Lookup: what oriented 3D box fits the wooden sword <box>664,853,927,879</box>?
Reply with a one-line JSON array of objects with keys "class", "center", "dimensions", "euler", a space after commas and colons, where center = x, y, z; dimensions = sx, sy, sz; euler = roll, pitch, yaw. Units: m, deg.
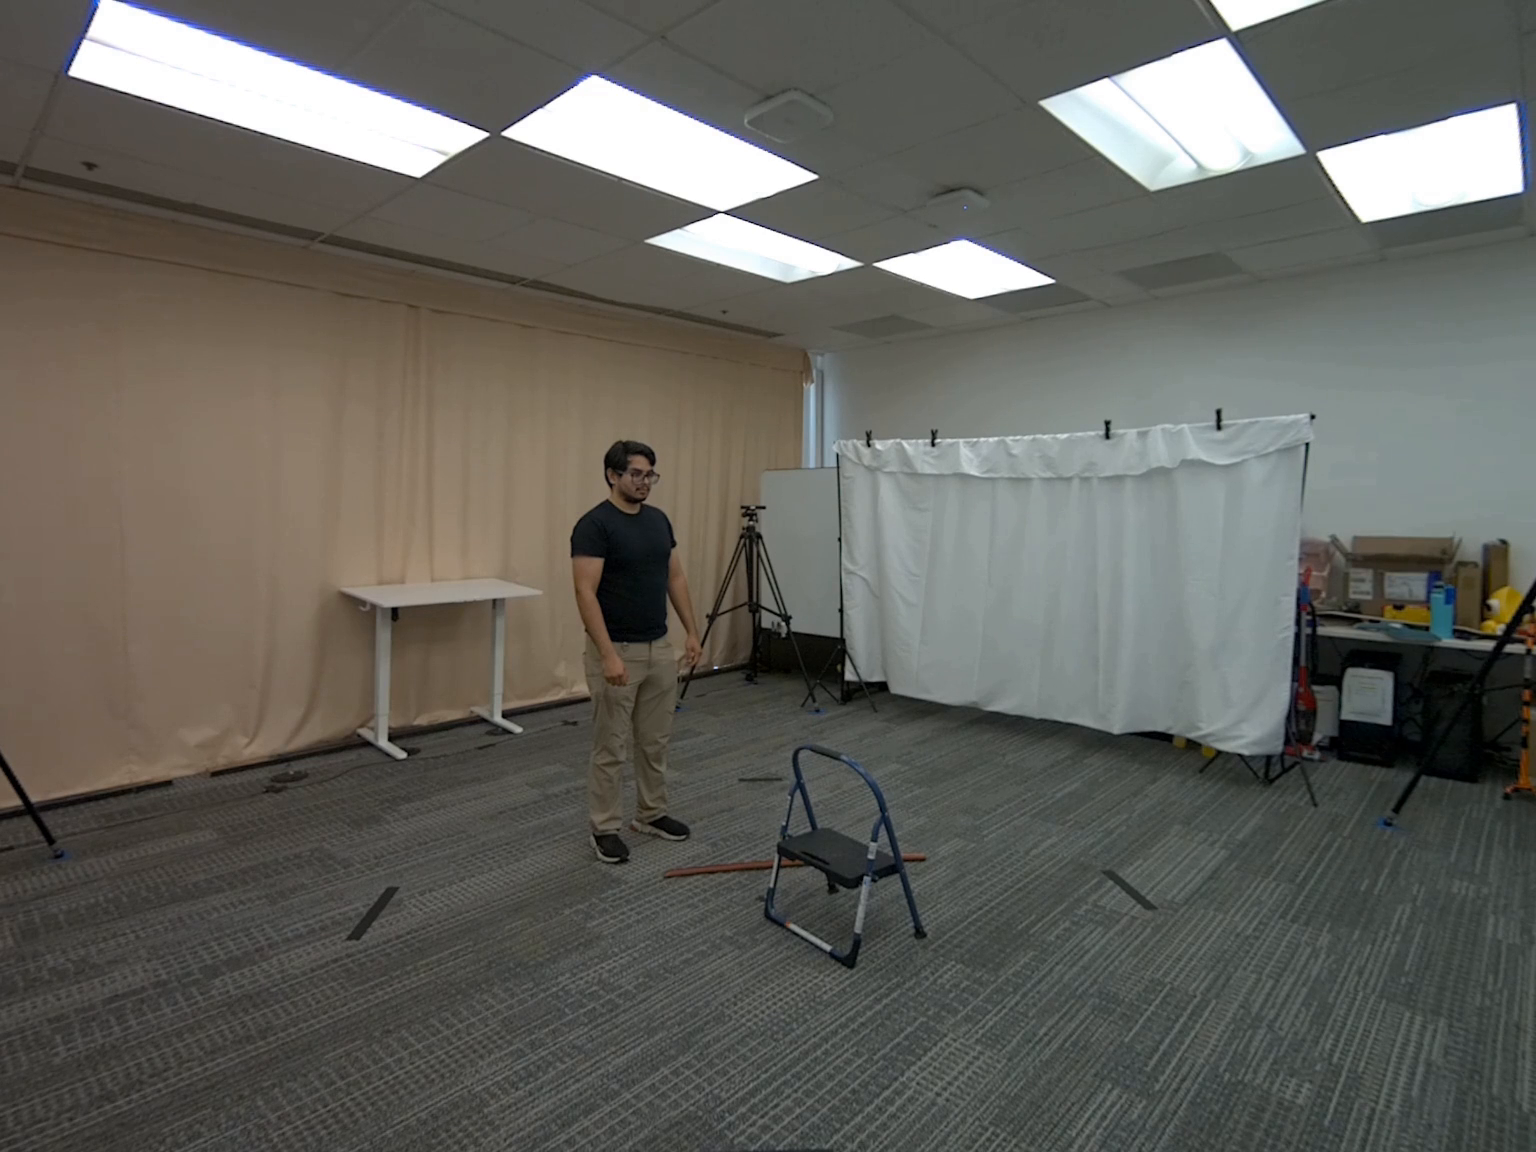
[{"class": "wooden sword", "center": [0.111, 1.097, 3.243], "dimensions": [1.015, 0.024, 0.052], "euler": [-1, 3, -8]}]
